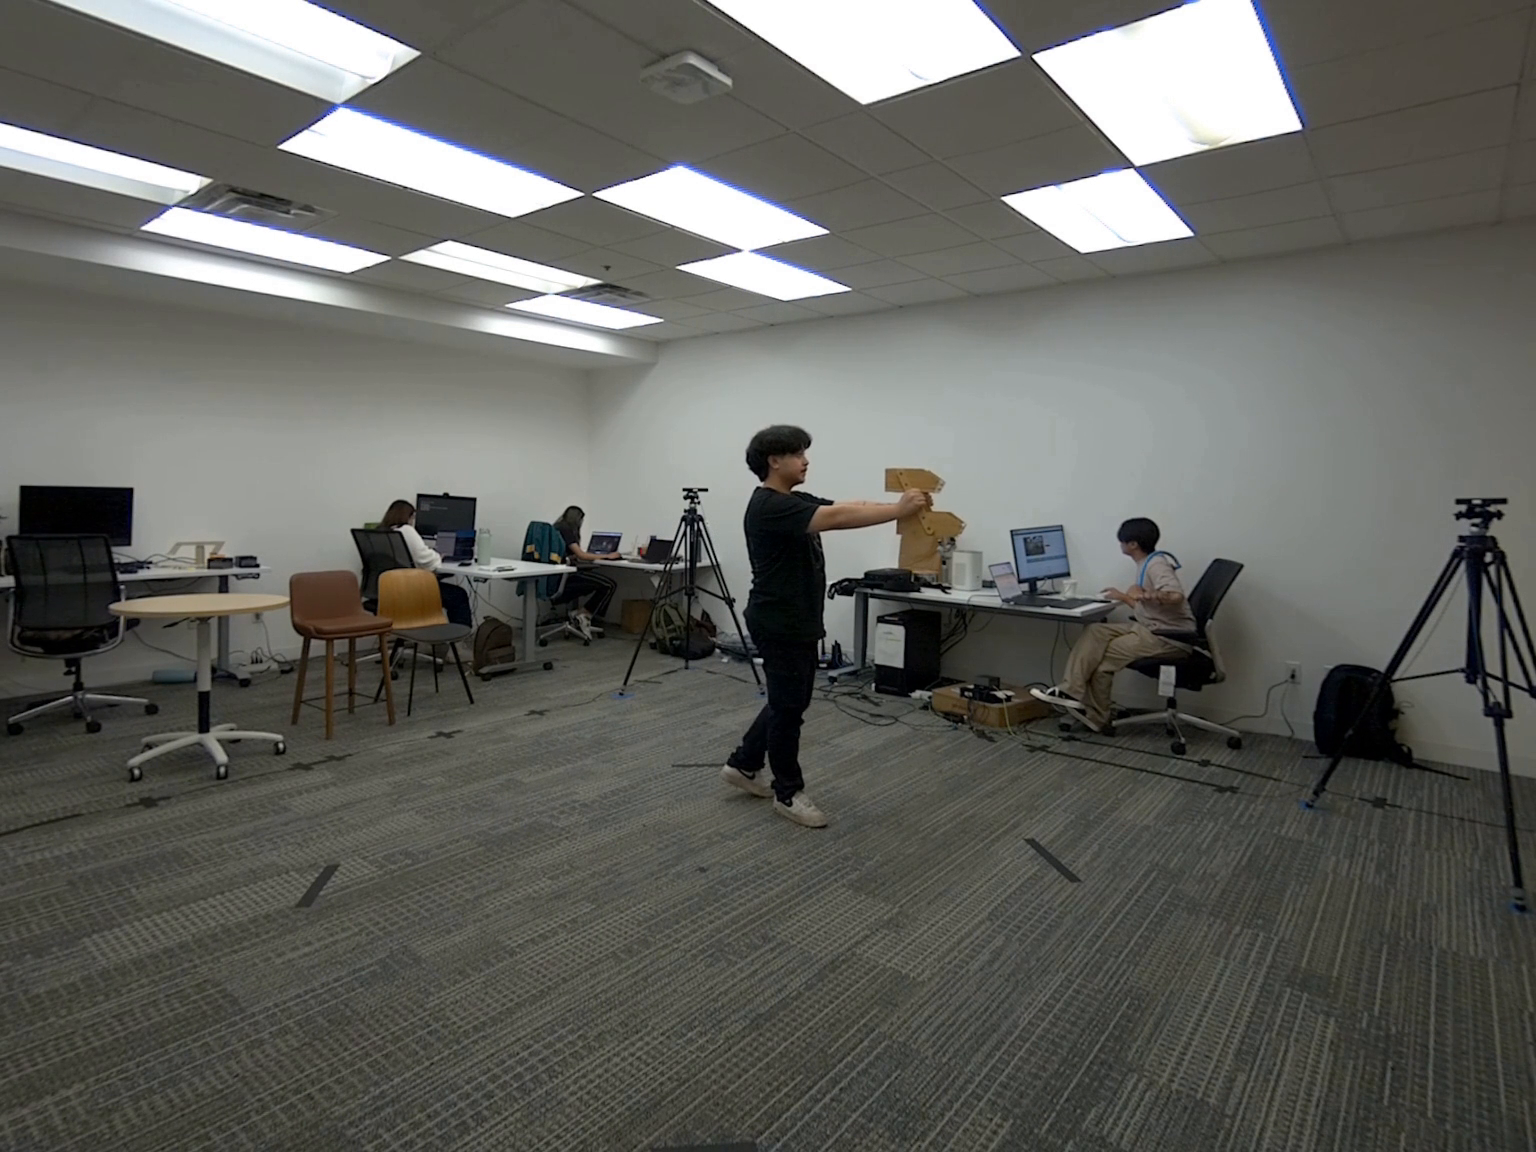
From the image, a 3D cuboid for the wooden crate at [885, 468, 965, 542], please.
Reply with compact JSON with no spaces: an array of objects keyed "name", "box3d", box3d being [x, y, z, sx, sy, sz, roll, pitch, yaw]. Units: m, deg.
[{"name":"wooden crate","box3d":[0.635,-0.312,3.447,0.306,0.272,0.321,1,5,13]}]
